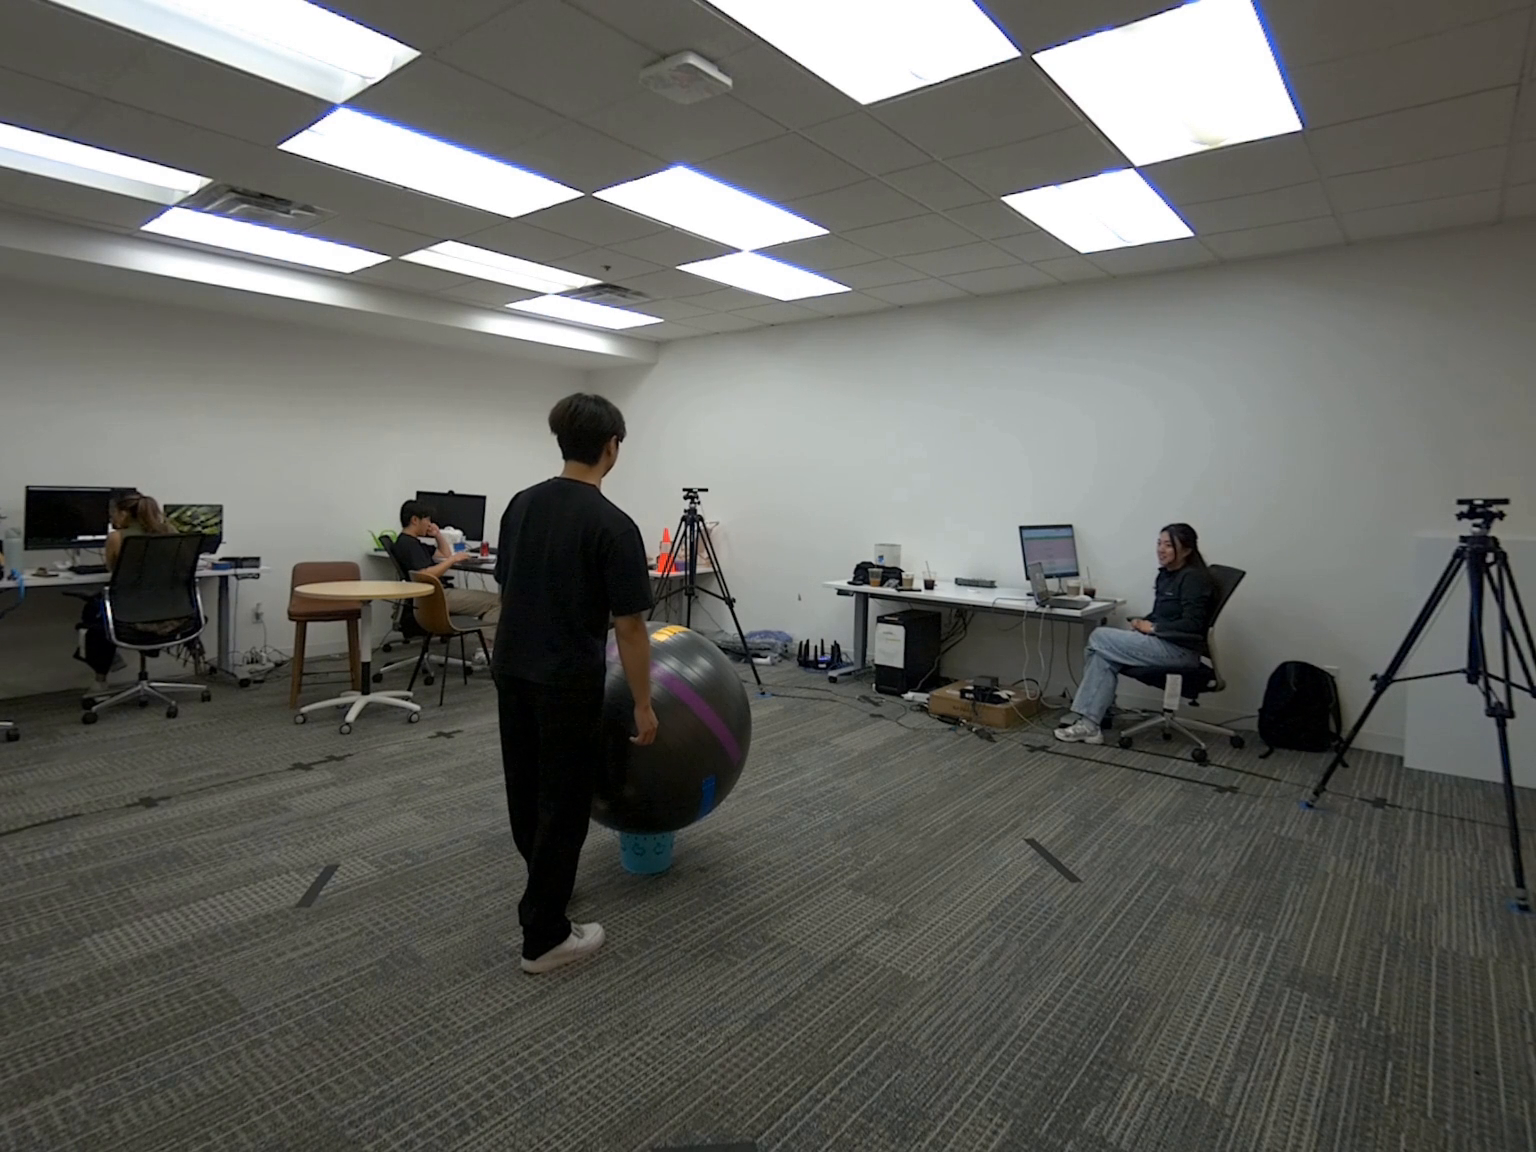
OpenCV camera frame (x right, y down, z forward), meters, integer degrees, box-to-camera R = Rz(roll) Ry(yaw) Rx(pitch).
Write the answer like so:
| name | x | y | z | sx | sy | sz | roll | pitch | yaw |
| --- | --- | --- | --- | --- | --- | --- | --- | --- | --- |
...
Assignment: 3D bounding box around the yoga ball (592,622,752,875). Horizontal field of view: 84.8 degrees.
| name | x | y | z | sx | sy | sz | roll | pitch | yaw |
| --- | --- | --- | --- | --- | --- | --- | --- | --- | --- |
| yoga ball | -0.450 | 0.551 | 3.135 | 0.757 | 0.755 | 0.762 | 1 | 4 | -2 |
